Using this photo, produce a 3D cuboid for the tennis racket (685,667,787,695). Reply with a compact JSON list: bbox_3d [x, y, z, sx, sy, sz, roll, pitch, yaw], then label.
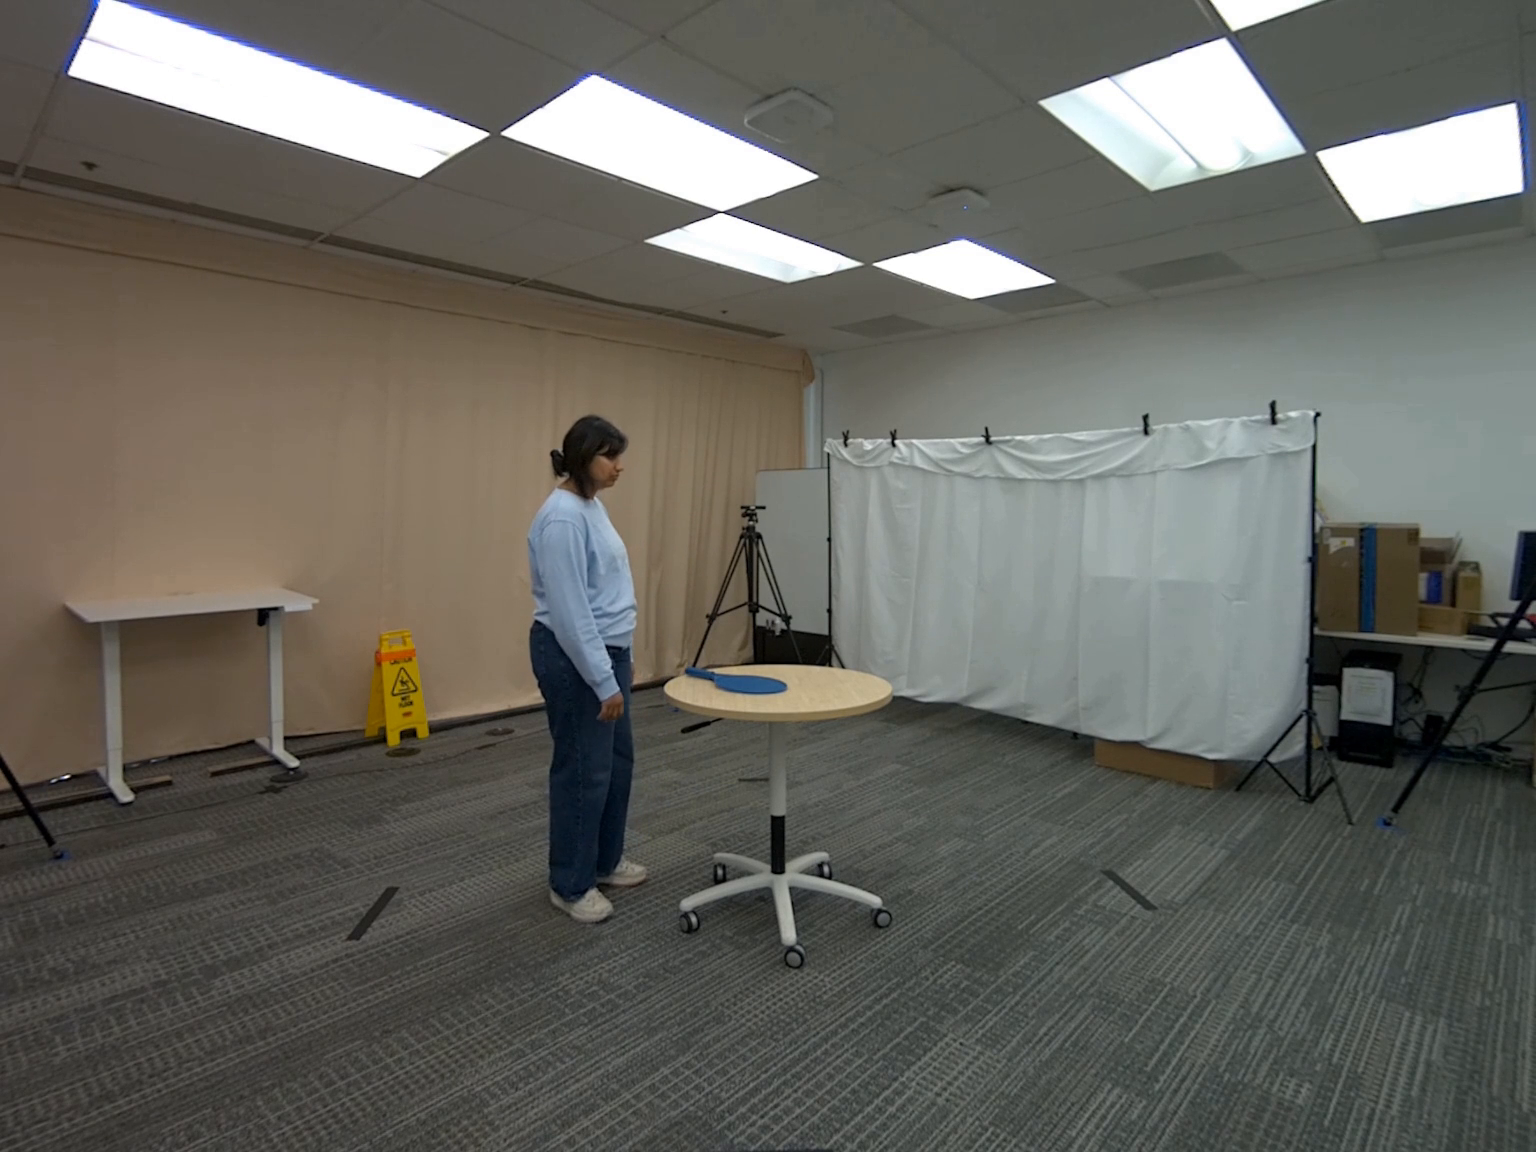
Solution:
[{"bbox_3d":[-0.137,0.369,2.877,0.448,0.032,0.207,6,5,43],"label":"tennis racket"}]
